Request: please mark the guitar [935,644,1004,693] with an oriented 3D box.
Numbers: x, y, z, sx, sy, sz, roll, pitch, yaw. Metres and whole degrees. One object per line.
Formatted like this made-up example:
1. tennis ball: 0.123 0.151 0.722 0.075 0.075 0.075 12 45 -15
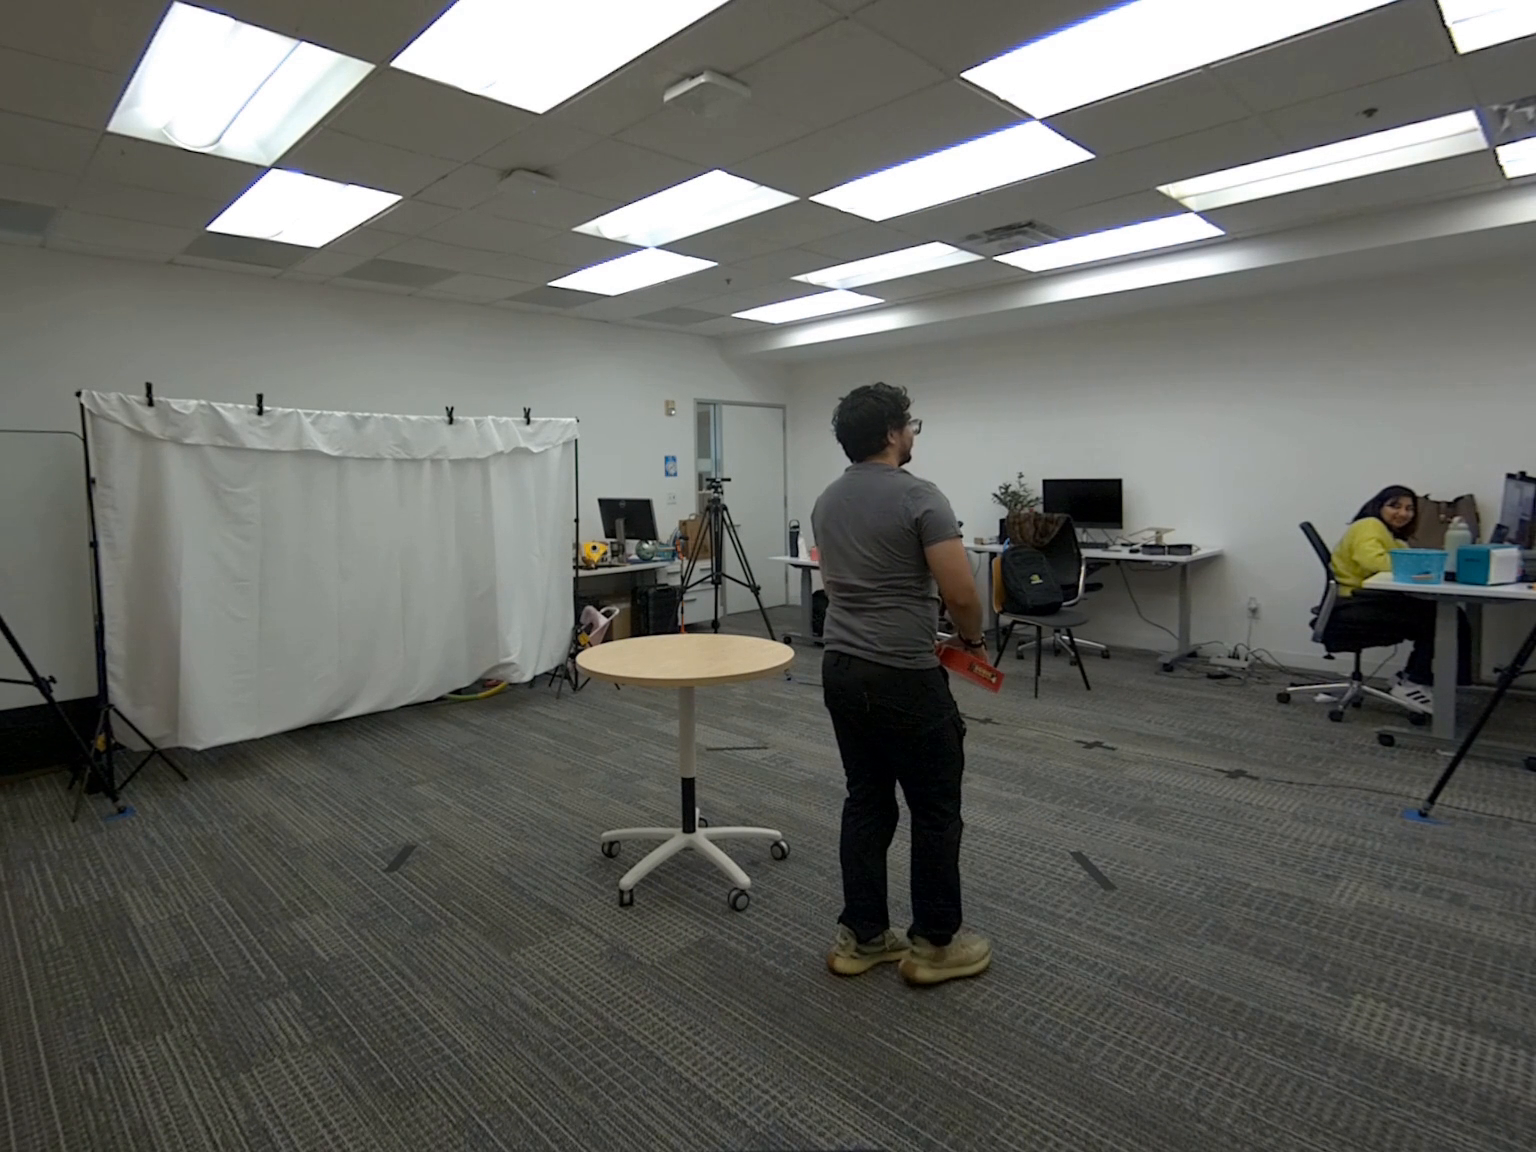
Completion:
1. guitar: 0.551 0.254 2.615 0.192 0.071 0.499 26 -2 -5
